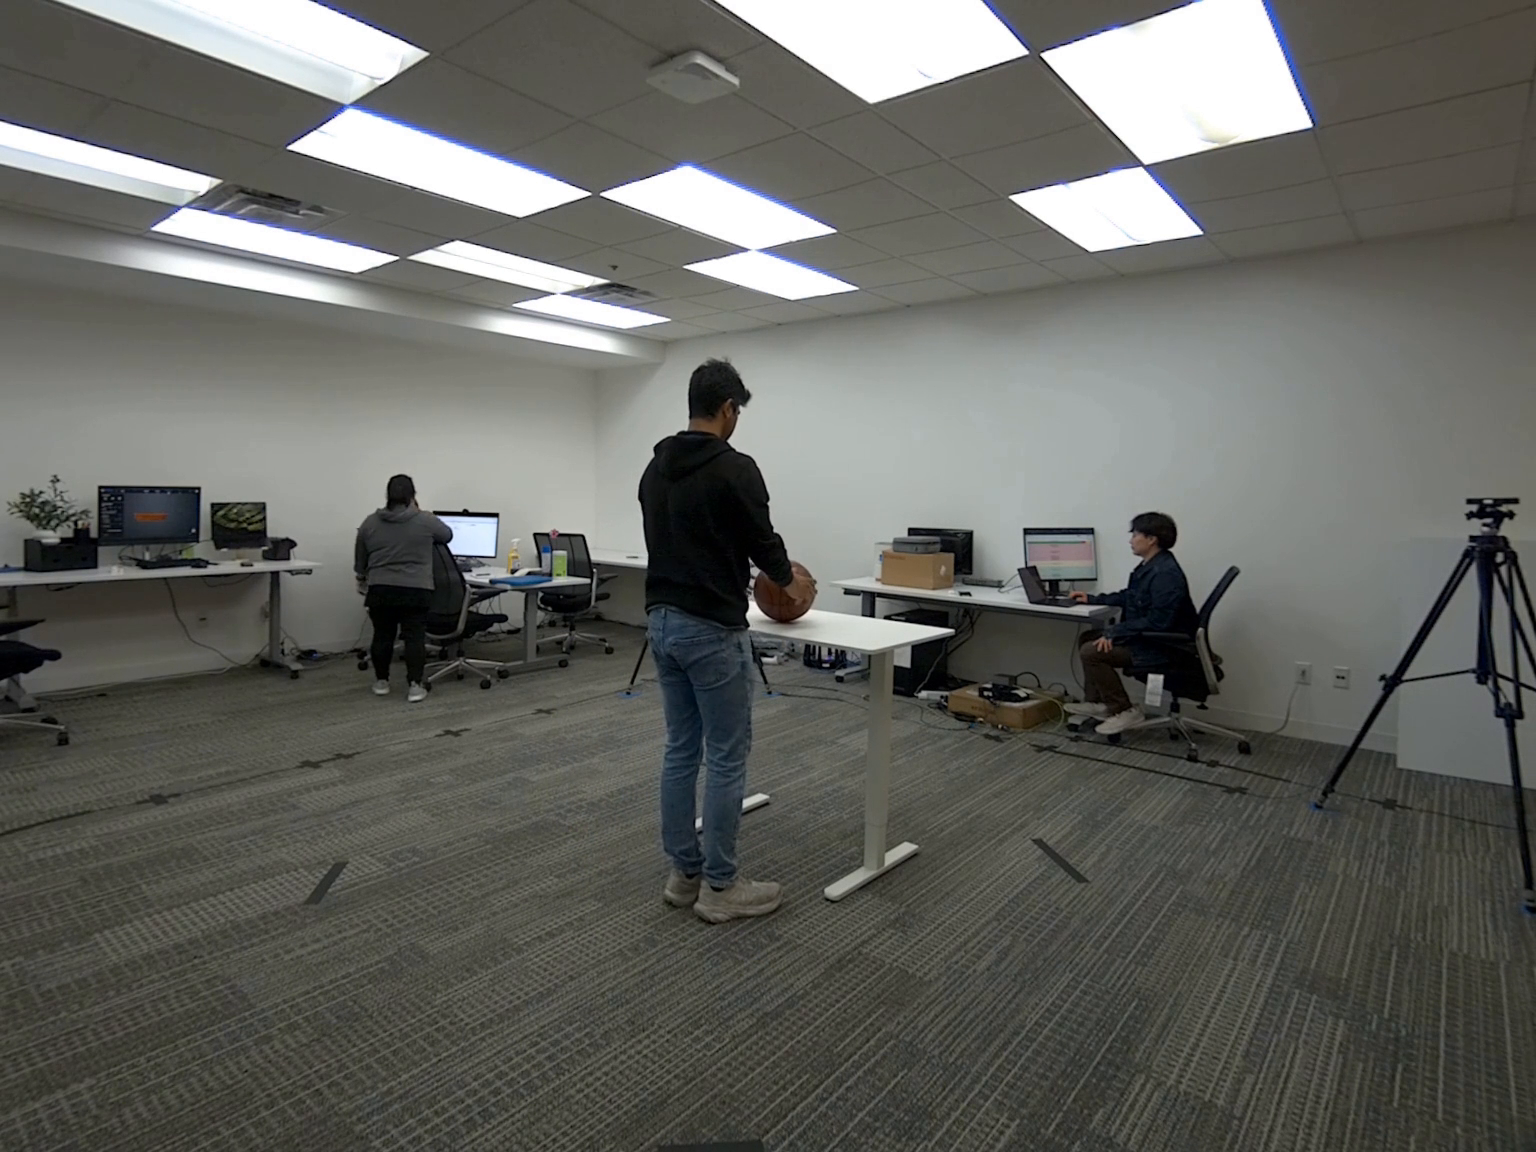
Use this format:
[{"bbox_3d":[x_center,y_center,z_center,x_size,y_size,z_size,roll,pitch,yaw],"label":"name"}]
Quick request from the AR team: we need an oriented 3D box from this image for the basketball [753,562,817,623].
[{"bbox_3d":[0.048,0.051,3.278,0.235,0.235,0.237,1,4,-2],"label":"basketball"}]
